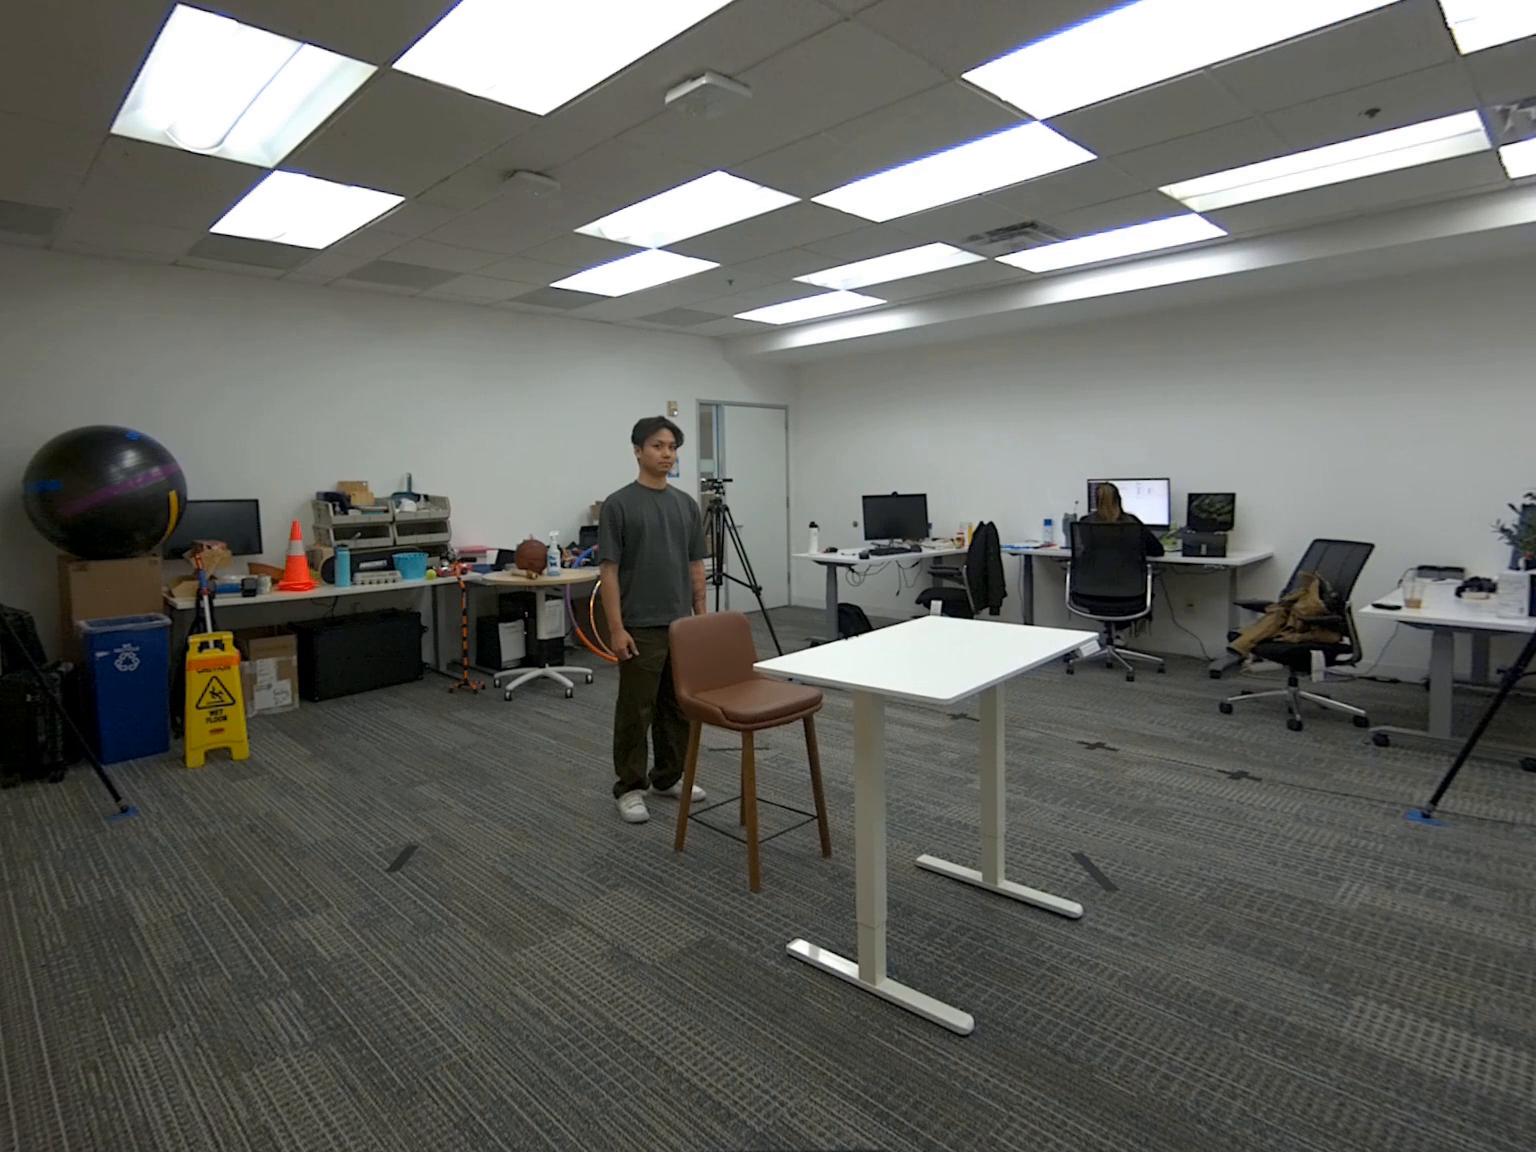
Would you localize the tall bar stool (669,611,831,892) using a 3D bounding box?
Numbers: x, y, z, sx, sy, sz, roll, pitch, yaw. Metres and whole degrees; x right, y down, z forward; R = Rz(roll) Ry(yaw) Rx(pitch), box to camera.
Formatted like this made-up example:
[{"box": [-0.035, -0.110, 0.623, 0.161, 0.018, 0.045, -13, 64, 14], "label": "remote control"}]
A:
[{"box": [-0.079, 0.600, 3.173, 0.444, 0.888, 0.481, -4, 4, -44], "label": "tall bar stool"}]
